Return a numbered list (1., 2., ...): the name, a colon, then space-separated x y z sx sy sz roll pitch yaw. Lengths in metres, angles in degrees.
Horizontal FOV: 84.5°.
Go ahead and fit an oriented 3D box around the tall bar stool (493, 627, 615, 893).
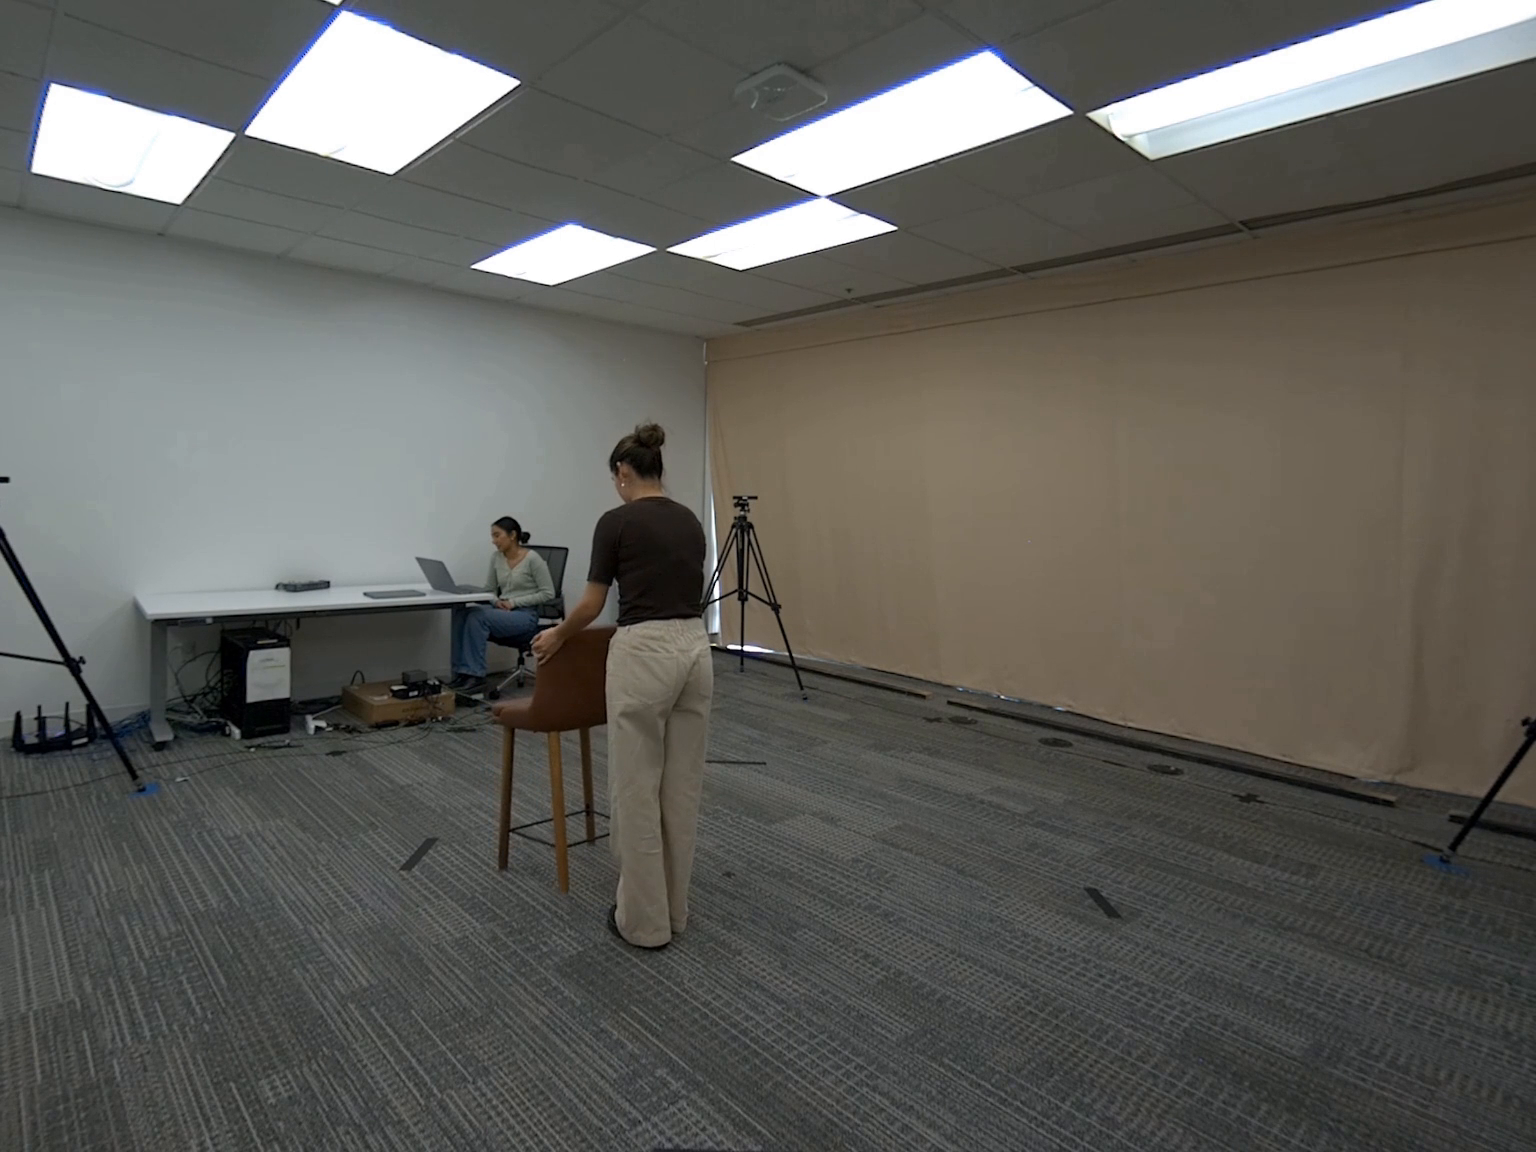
1. tall bar stool: -0.728 0.625 3.082 0.446 0.890 0.478 -2 -1 -42
